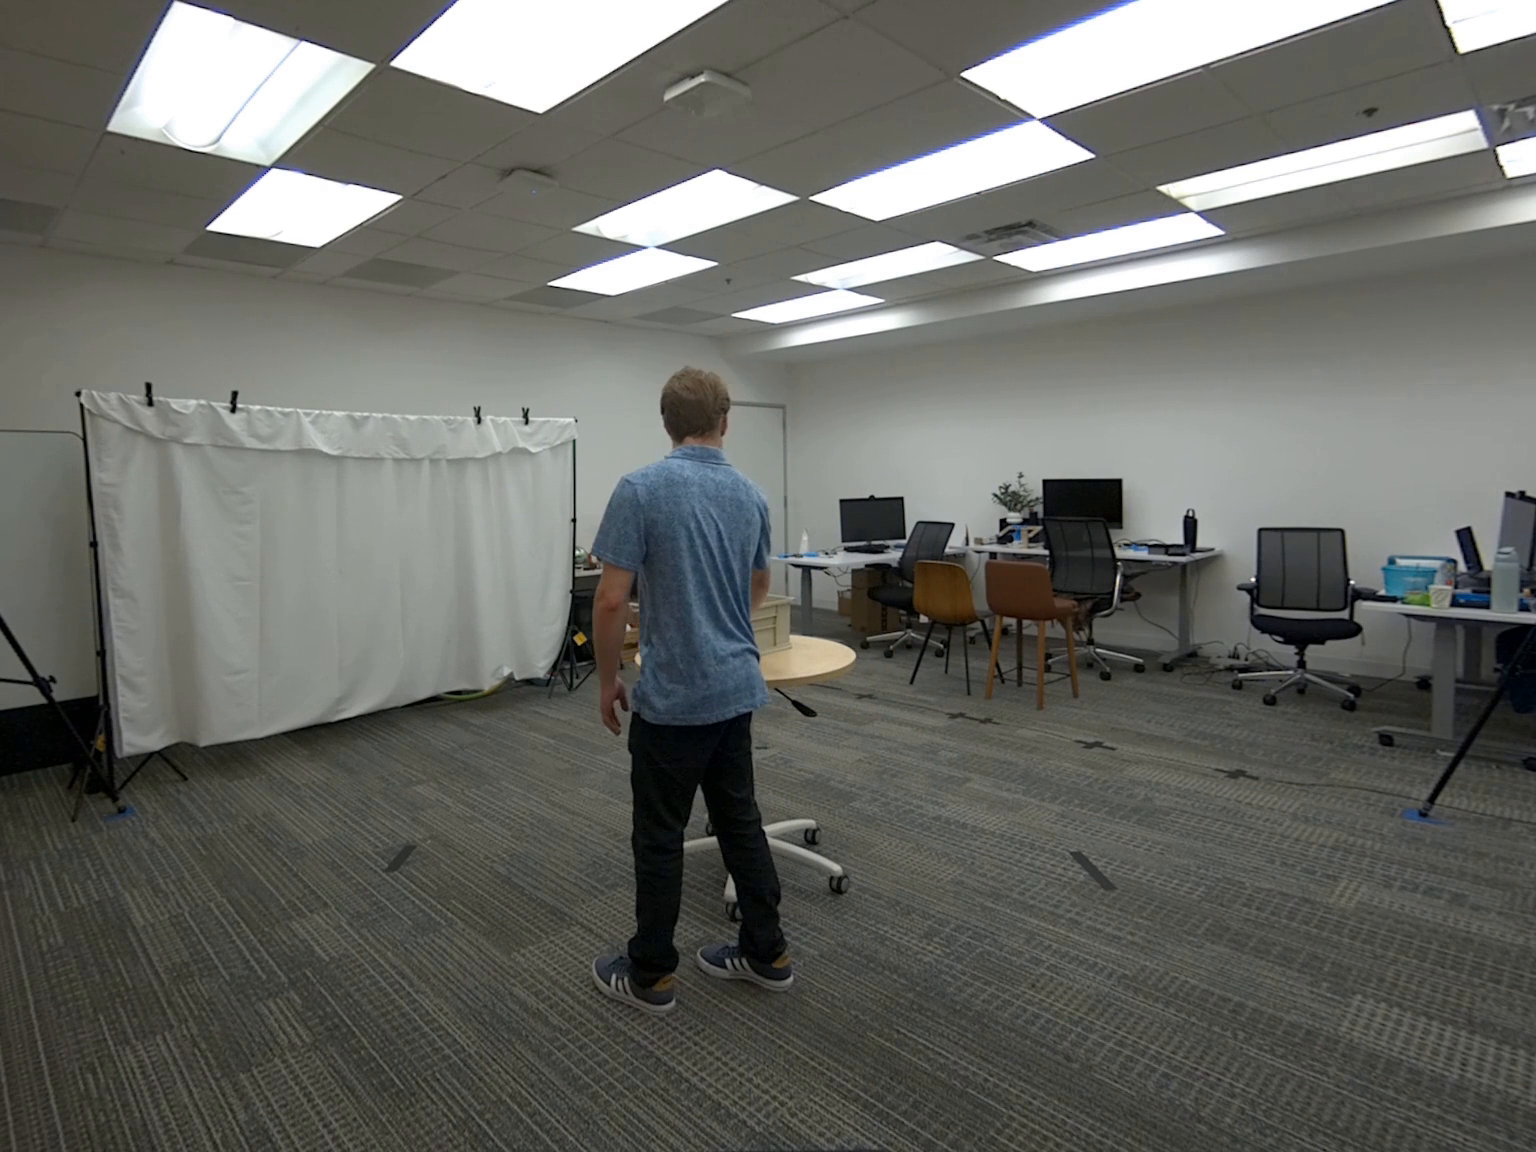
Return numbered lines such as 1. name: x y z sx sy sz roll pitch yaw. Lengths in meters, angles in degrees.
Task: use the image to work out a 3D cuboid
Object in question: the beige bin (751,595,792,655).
1. beige bin: -0.173 0.171 3.091 0.435 0.188 0.367 5 7 44
